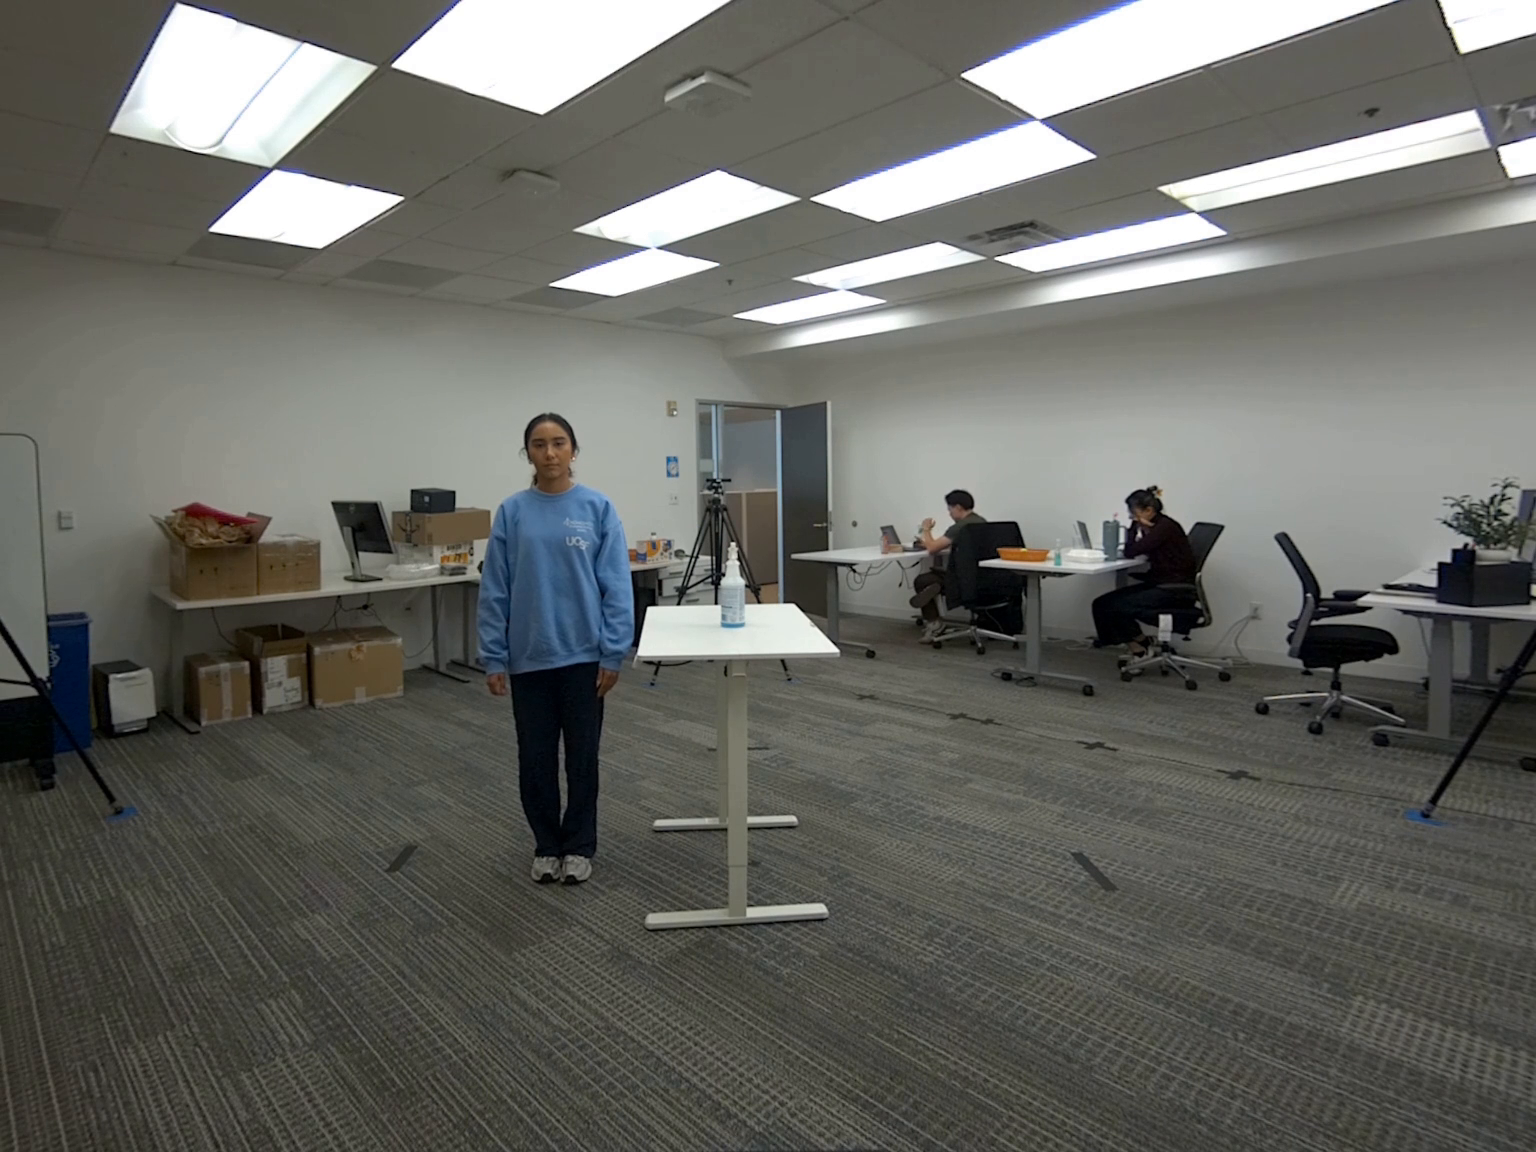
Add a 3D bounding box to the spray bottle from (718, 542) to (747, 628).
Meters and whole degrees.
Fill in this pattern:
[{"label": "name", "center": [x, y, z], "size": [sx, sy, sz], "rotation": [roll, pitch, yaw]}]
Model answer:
[{"label": "spray bottle", "center": [-0.123, 0.030, 2.990], "size": [0.089, 0.296, 0.089], "rotation": [2, 7, 19]}]
